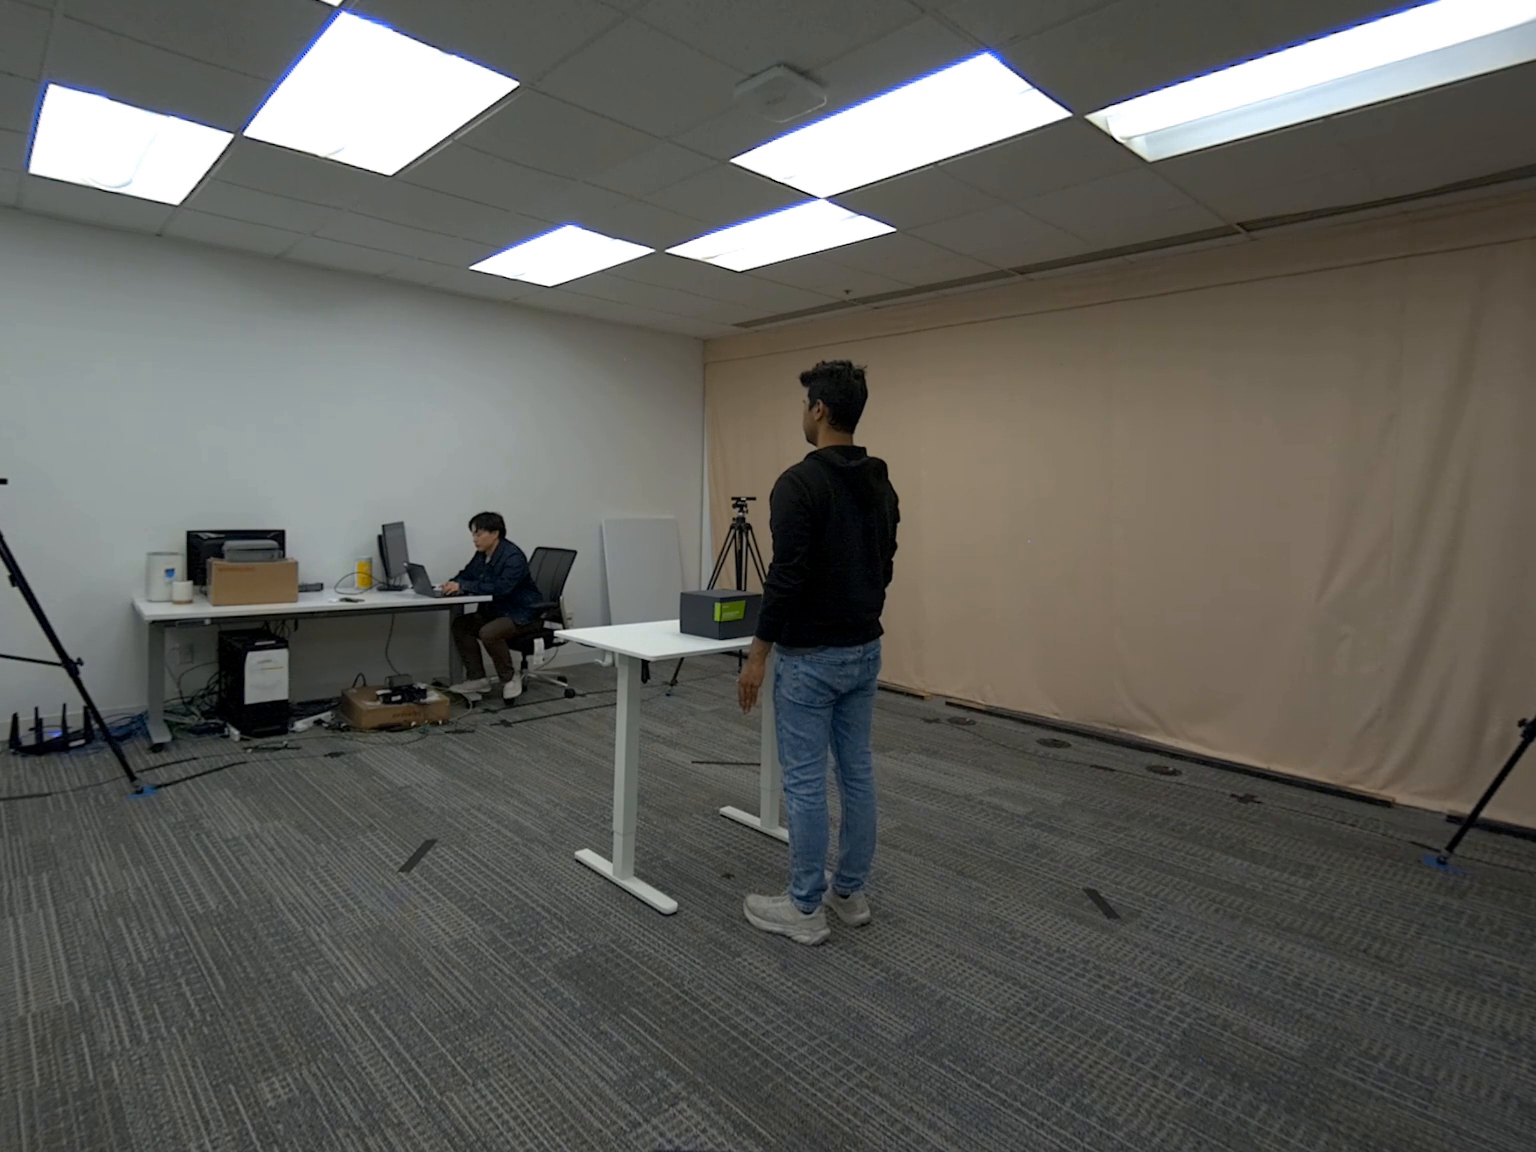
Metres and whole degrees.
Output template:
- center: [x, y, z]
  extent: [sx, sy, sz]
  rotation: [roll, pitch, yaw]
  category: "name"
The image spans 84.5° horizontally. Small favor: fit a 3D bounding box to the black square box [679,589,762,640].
- center: [-0.178, 0.140, 3.160]
  extent: [0.222, 0.155, 0.223]
  rotation: [6, 6, 42]
  category: "black square box"
